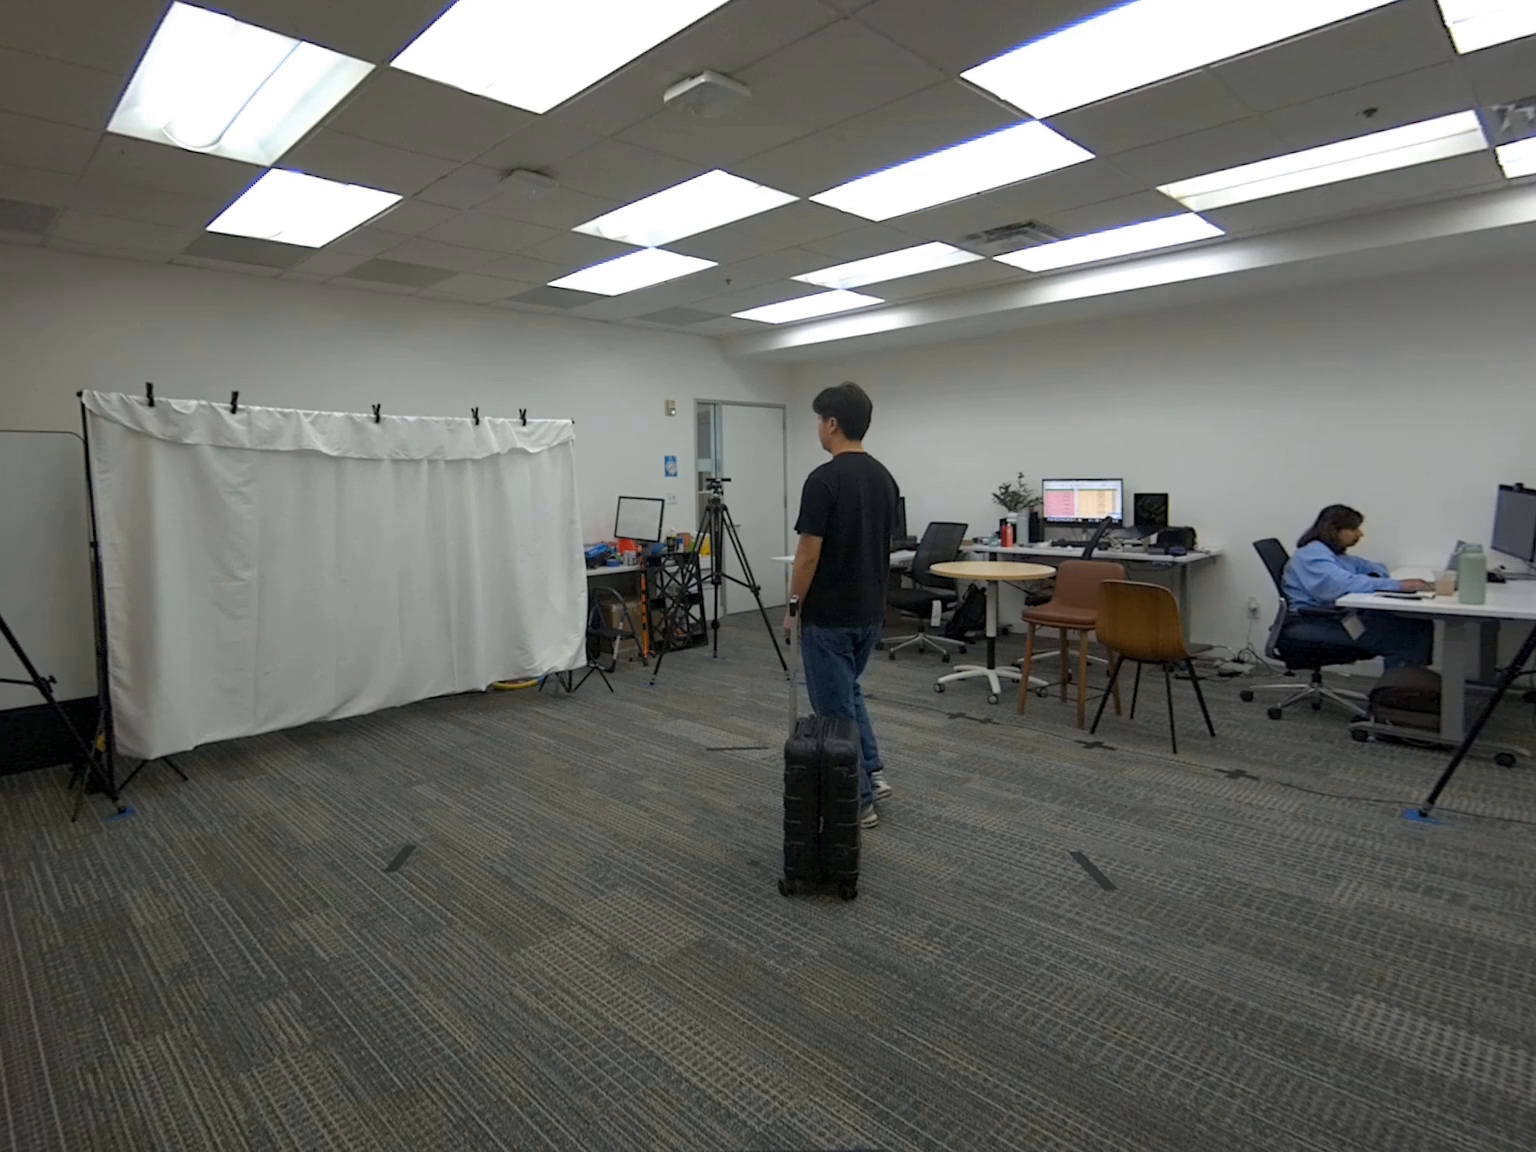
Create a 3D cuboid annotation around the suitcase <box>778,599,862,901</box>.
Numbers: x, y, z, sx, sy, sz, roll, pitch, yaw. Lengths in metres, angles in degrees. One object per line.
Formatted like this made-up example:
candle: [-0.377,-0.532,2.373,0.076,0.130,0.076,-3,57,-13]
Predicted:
suitcase: [0.198,0.579,2.942,0.259,0.974,0.382,2,5,8]
